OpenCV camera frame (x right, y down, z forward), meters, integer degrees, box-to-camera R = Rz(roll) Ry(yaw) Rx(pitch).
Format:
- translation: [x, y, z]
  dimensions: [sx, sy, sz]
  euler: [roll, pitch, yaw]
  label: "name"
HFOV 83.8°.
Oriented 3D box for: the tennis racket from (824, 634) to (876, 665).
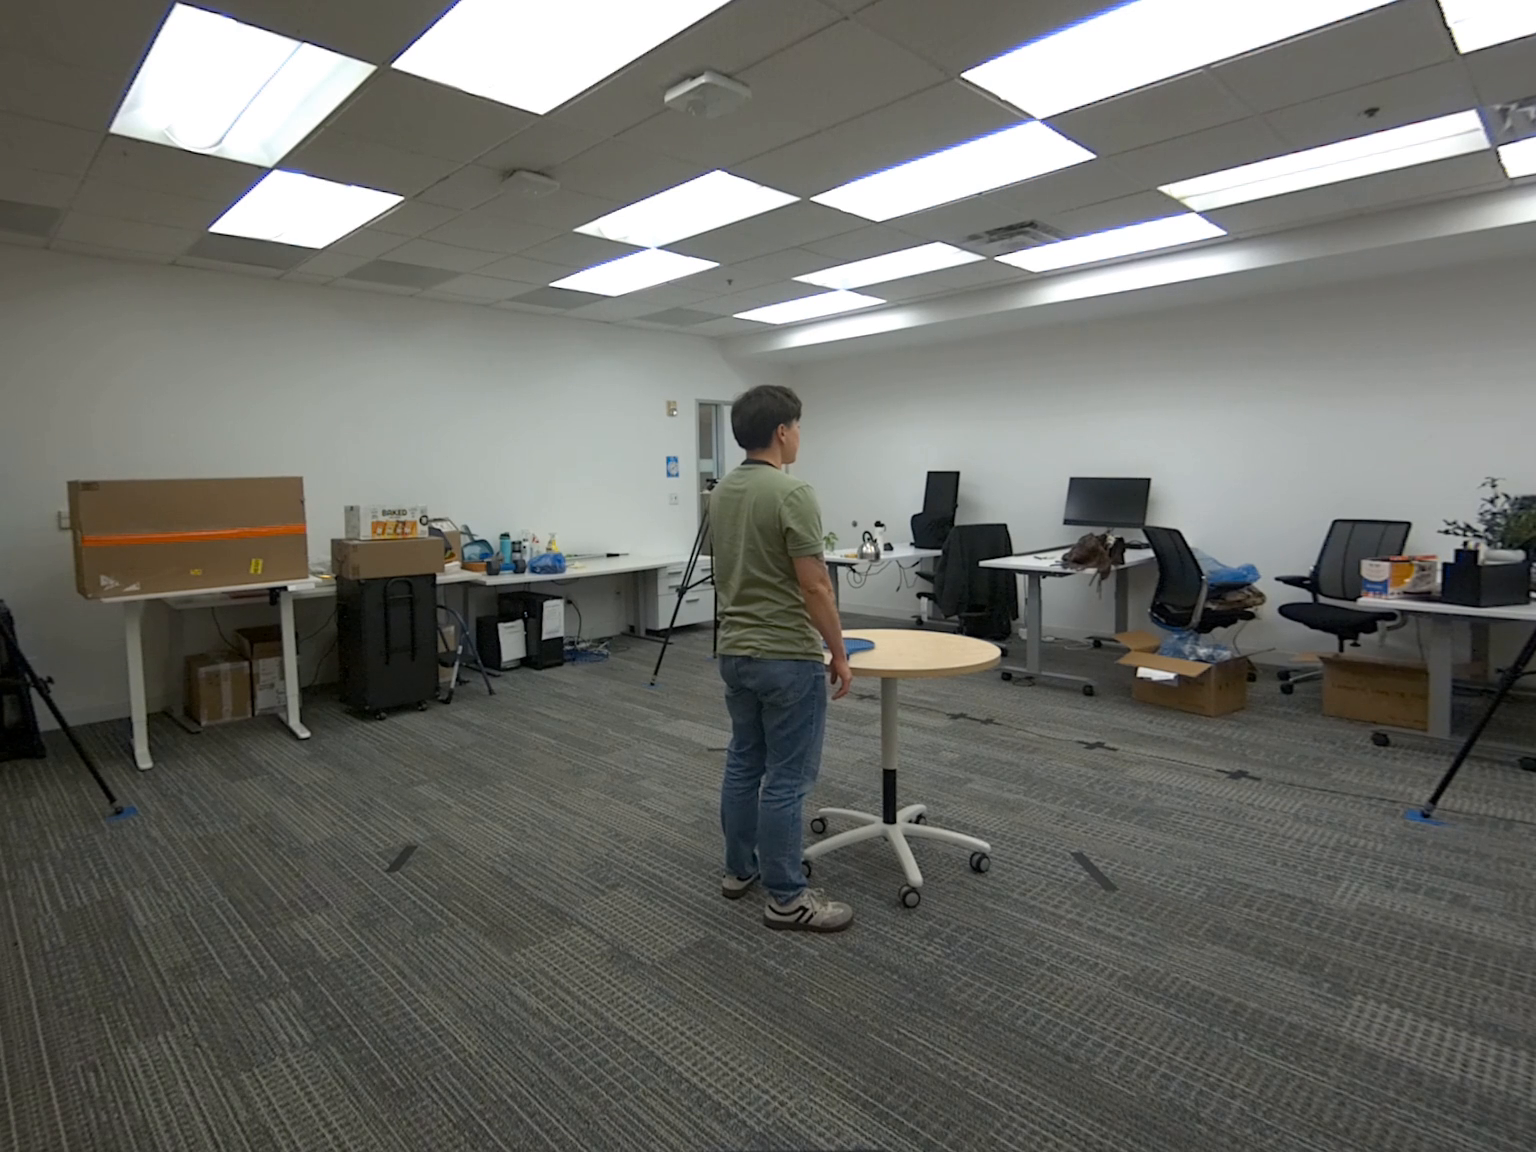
- translation: [0.266, 0.253, 3.010]
  dimensions: [0.216, 0.031, 0.430]
  euler: [0, 4, 8]
  label: "tennis racket"
